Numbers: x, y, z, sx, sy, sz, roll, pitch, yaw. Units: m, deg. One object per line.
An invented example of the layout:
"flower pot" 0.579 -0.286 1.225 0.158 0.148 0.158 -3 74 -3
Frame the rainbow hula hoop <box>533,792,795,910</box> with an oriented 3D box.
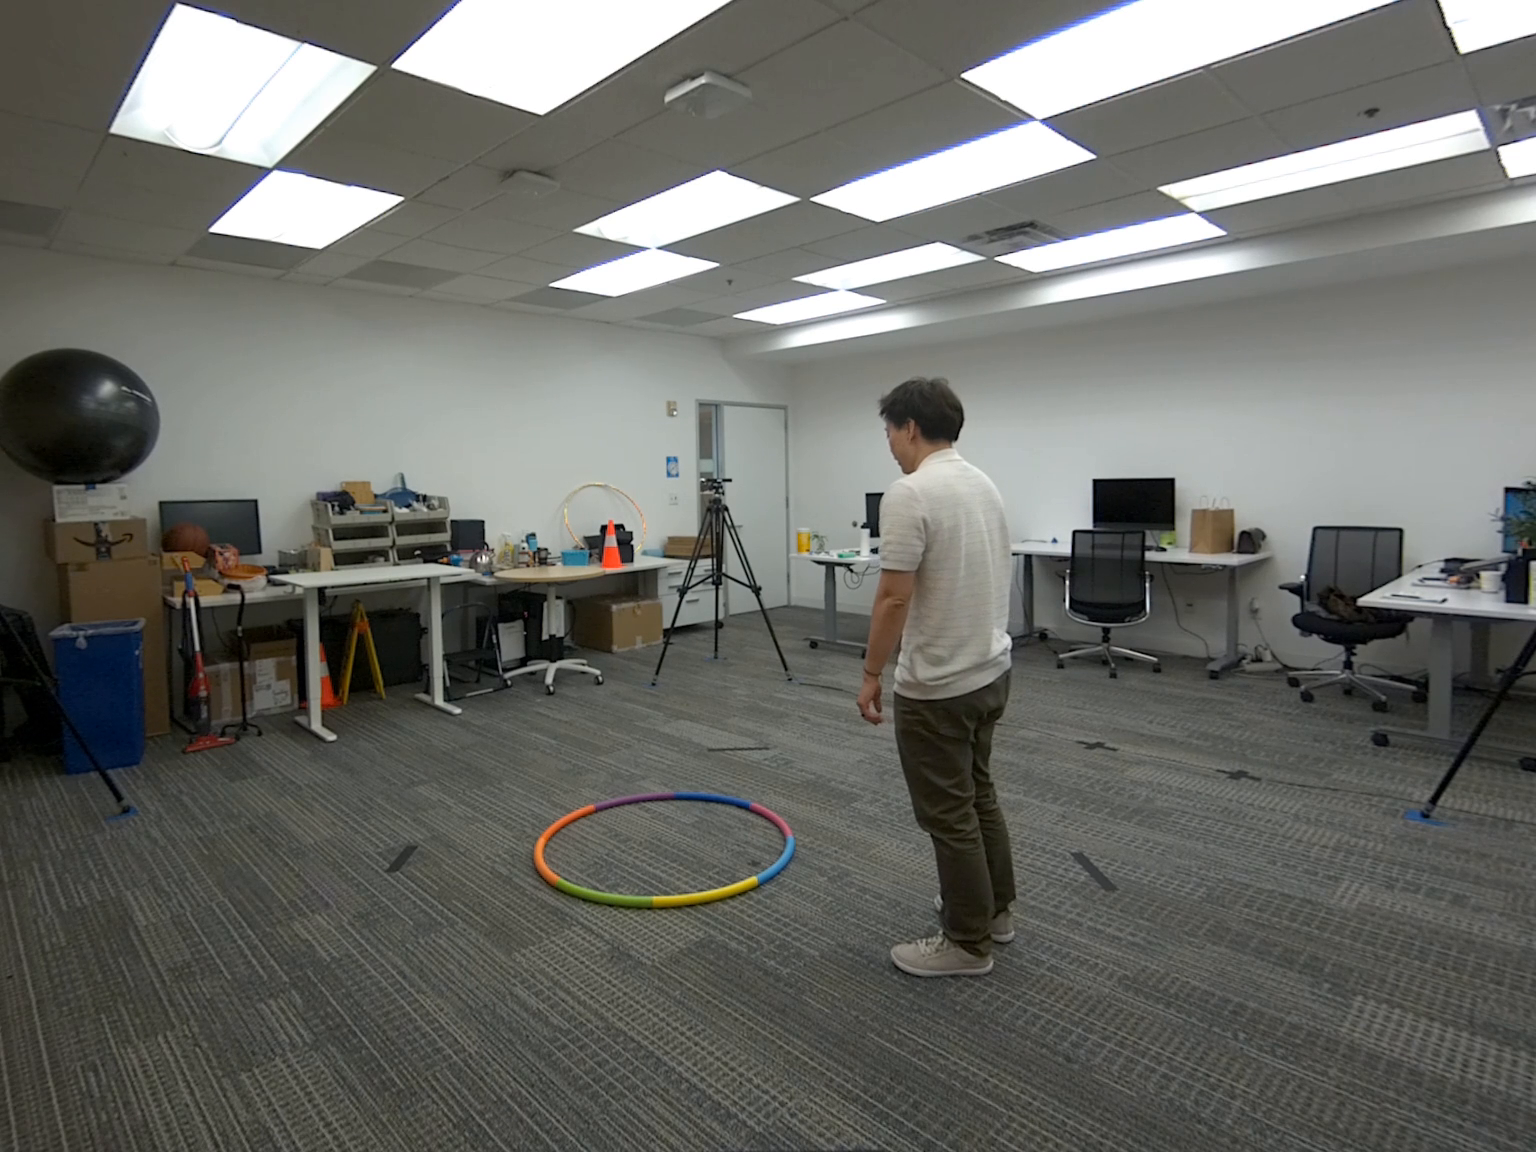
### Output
"rainbow hula hoop" -0.387 1.002 3.272 0.978 0.035 0.984 -1 6 -2
